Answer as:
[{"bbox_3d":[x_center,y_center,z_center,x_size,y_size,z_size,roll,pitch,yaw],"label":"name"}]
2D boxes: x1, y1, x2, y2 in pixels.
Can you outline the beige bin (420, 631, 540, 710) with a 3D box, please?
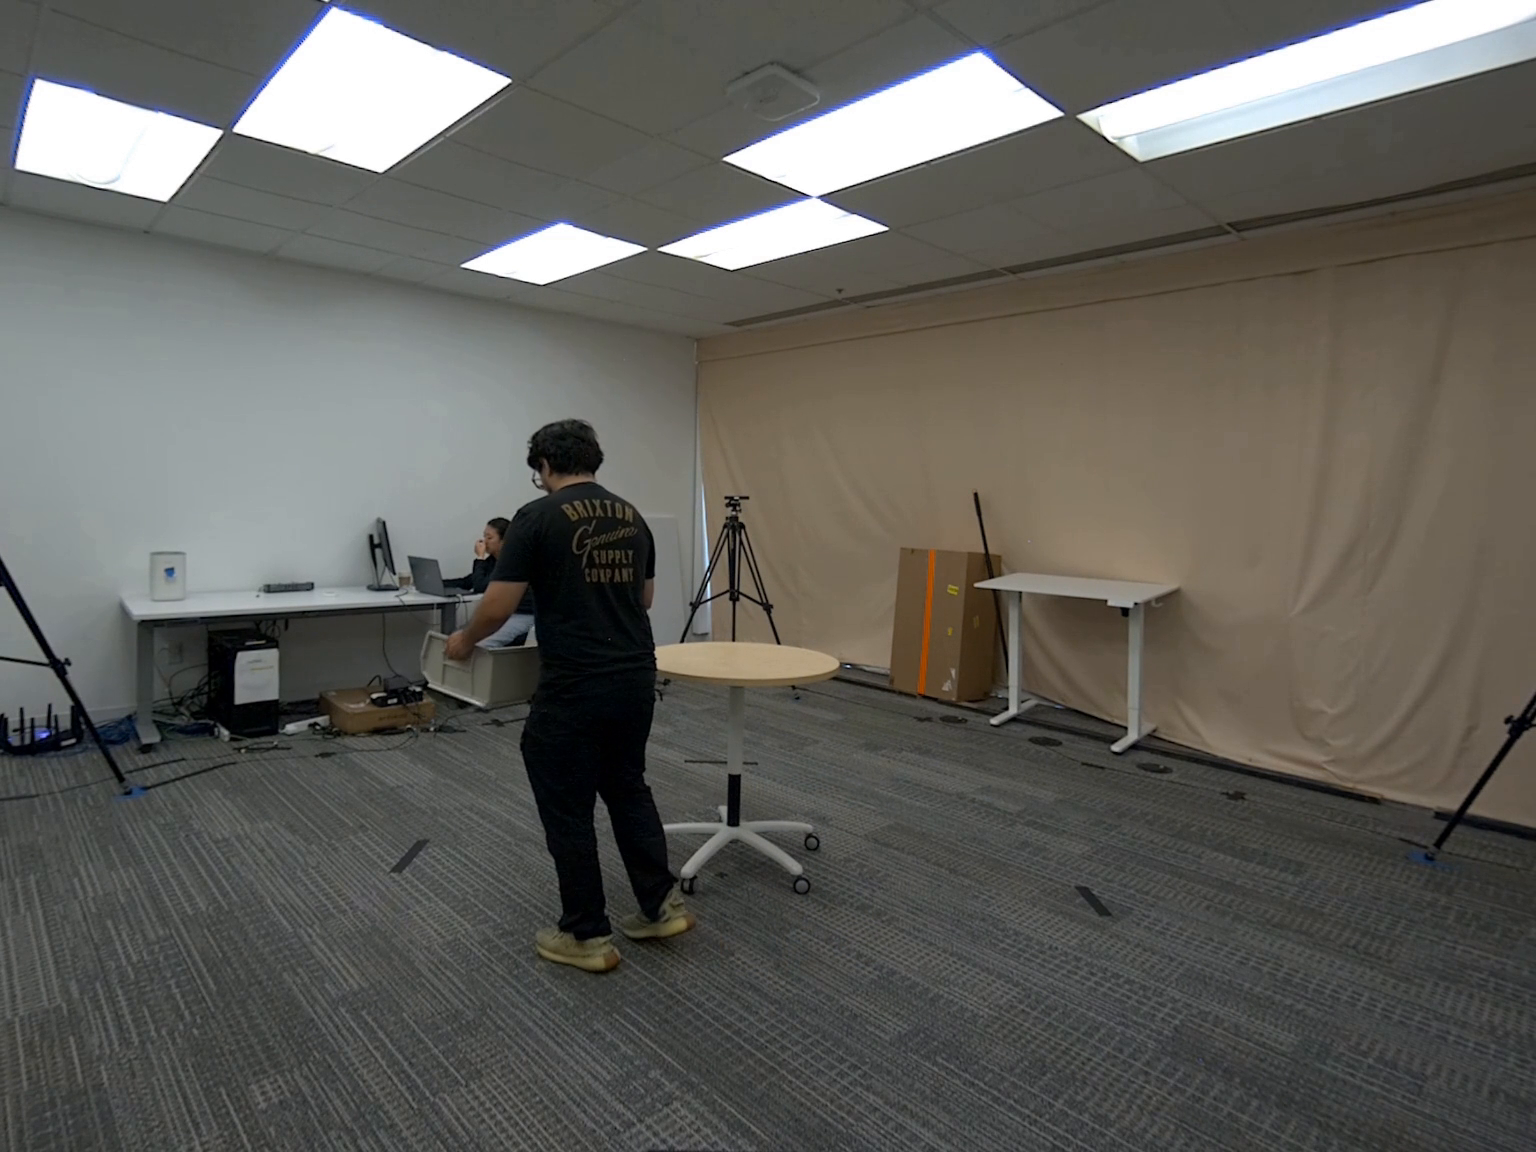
[{"bbox_3d":[-0.851,0.285,2.768,0.387,0.188,0.412,10,5,38],"label":"beige bin"}]
